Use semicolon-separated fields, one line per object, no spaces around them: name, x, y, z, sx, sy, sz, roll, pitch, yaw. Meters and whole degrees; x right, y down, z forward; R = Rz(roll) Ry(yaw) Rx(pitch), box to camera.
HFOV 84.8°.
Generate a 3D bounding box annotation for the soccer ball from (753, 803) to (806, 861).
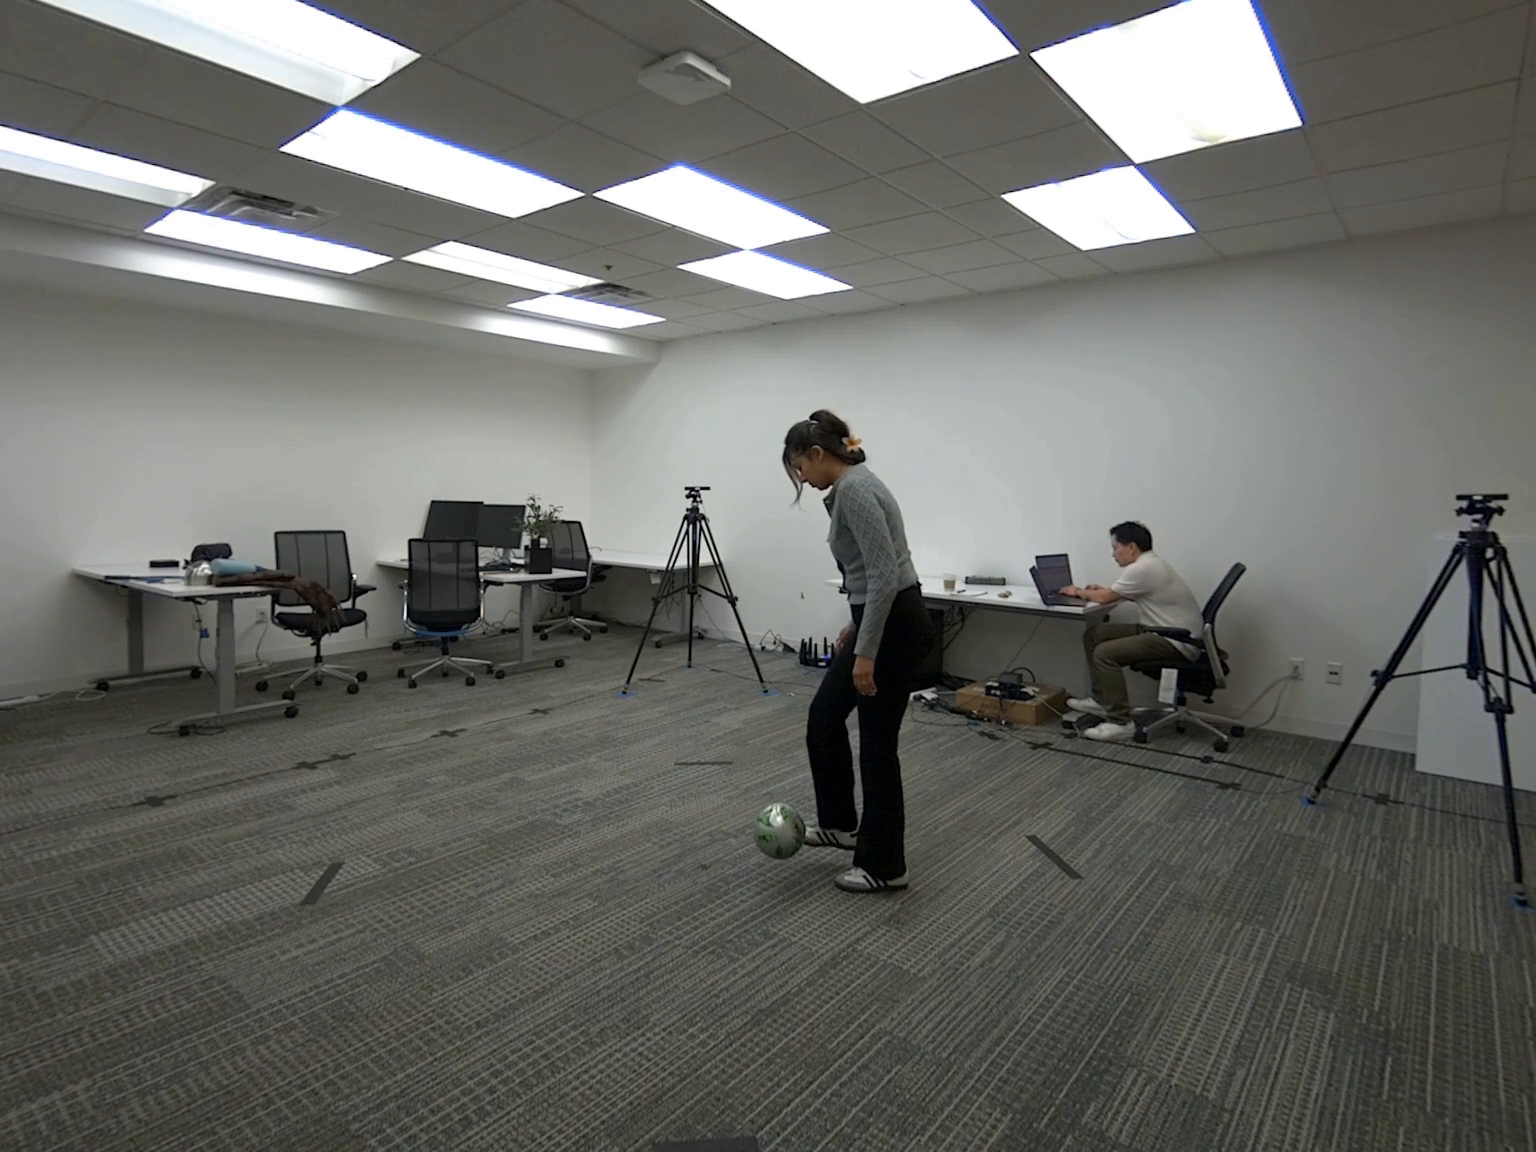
soccer ball;0.031;0.916;3.027;0.187;0.187;0.188;1;4;-2
